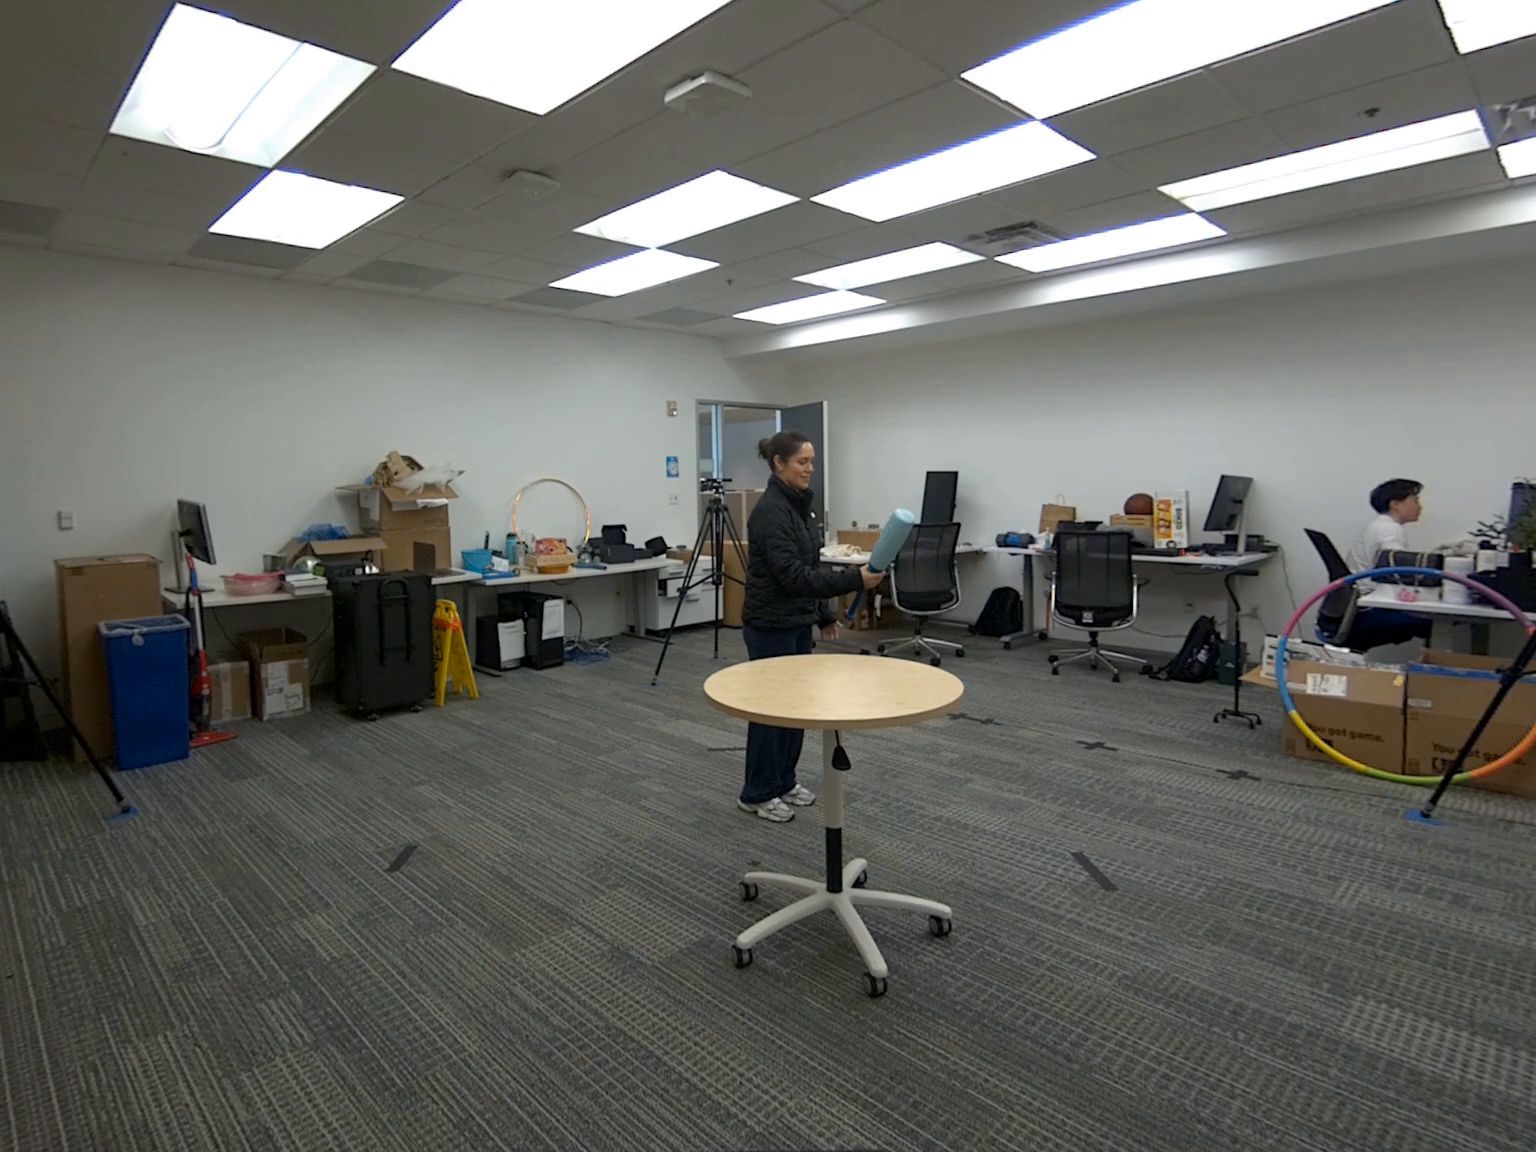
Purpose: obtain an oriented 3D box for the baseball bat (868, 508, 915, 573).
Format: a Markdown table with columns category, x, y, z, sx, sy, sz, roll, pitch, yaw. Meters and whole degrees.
| category | x | y | z | sx | sy | sz | roll | pitch | yaw |
| --- | --- | --- | --- | --- | --- | --- | --- | --- | --- |
| baseball bat | 0.413 | -0.021 | 3.267 | 0.088 | 0.535 | 0.091 | 12 | 38 | -12 |
